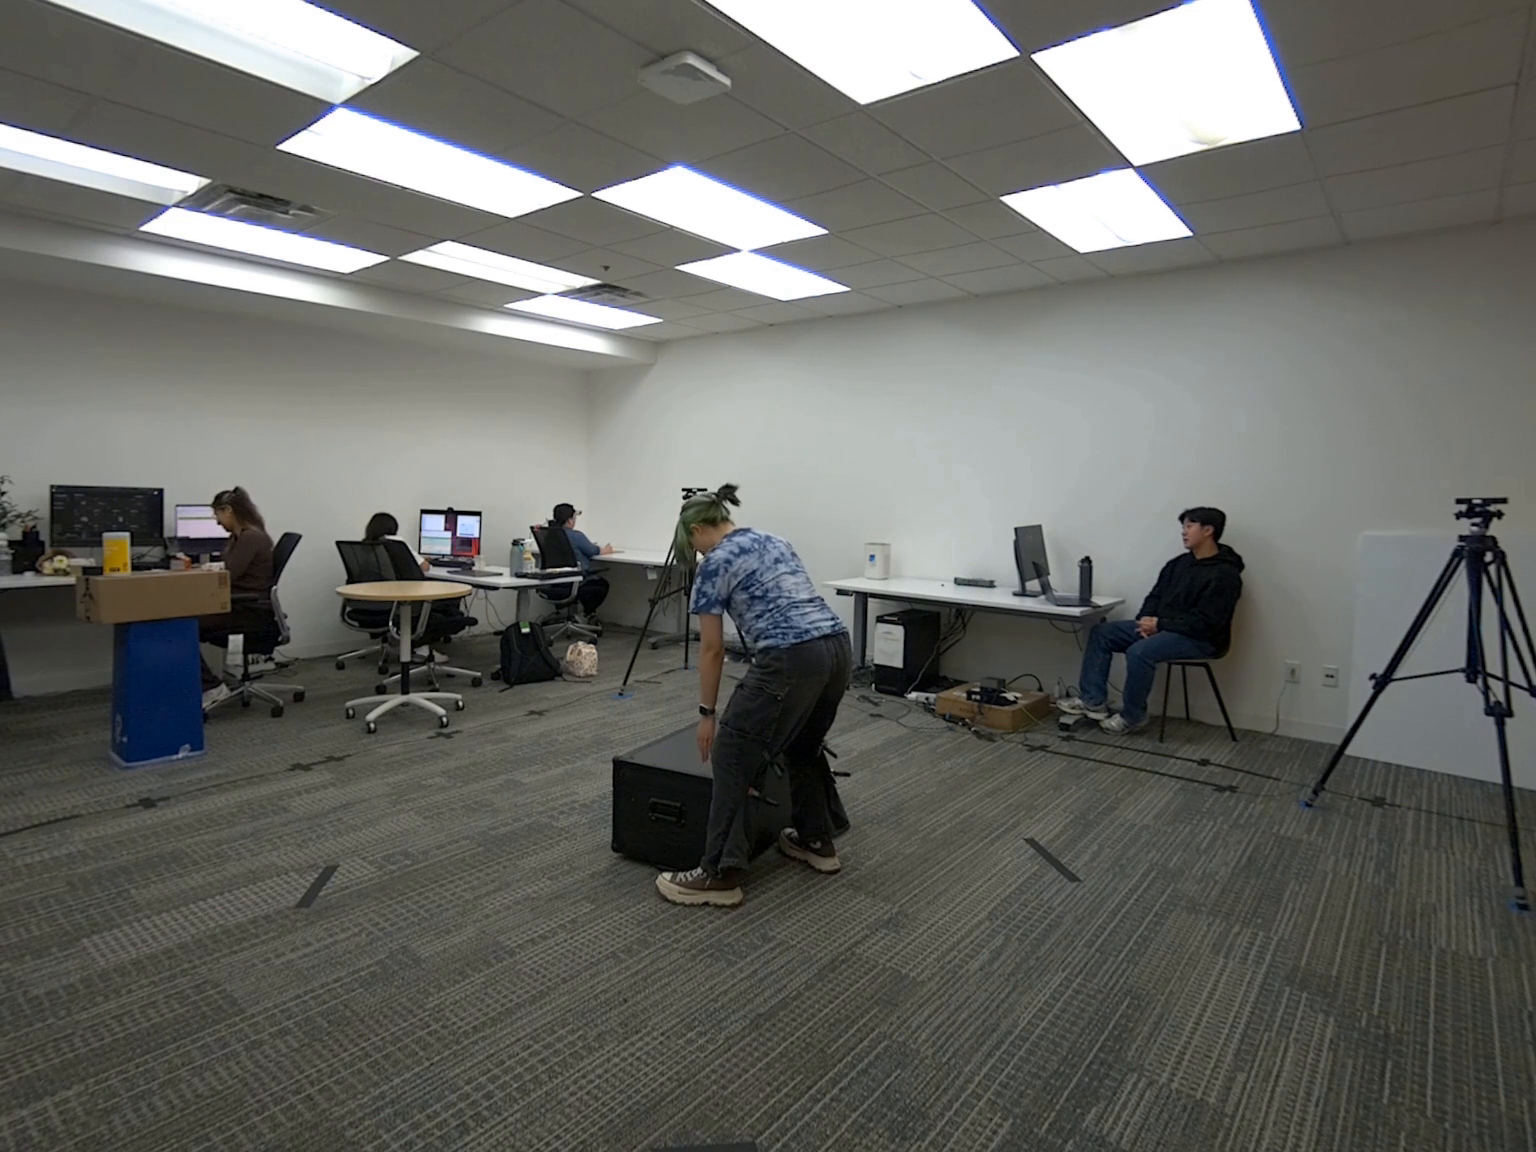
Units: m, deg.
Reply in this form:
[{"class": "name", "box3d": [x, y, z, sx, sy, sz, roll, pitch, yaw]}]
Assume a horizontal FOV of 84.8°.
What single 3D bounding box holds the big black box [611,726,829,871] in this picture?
[{"class": "big black box", "box3d": [-0.195, 0.845, 3.431, 0.535, 0.395, 0.841, 2, 6, 27]}]
